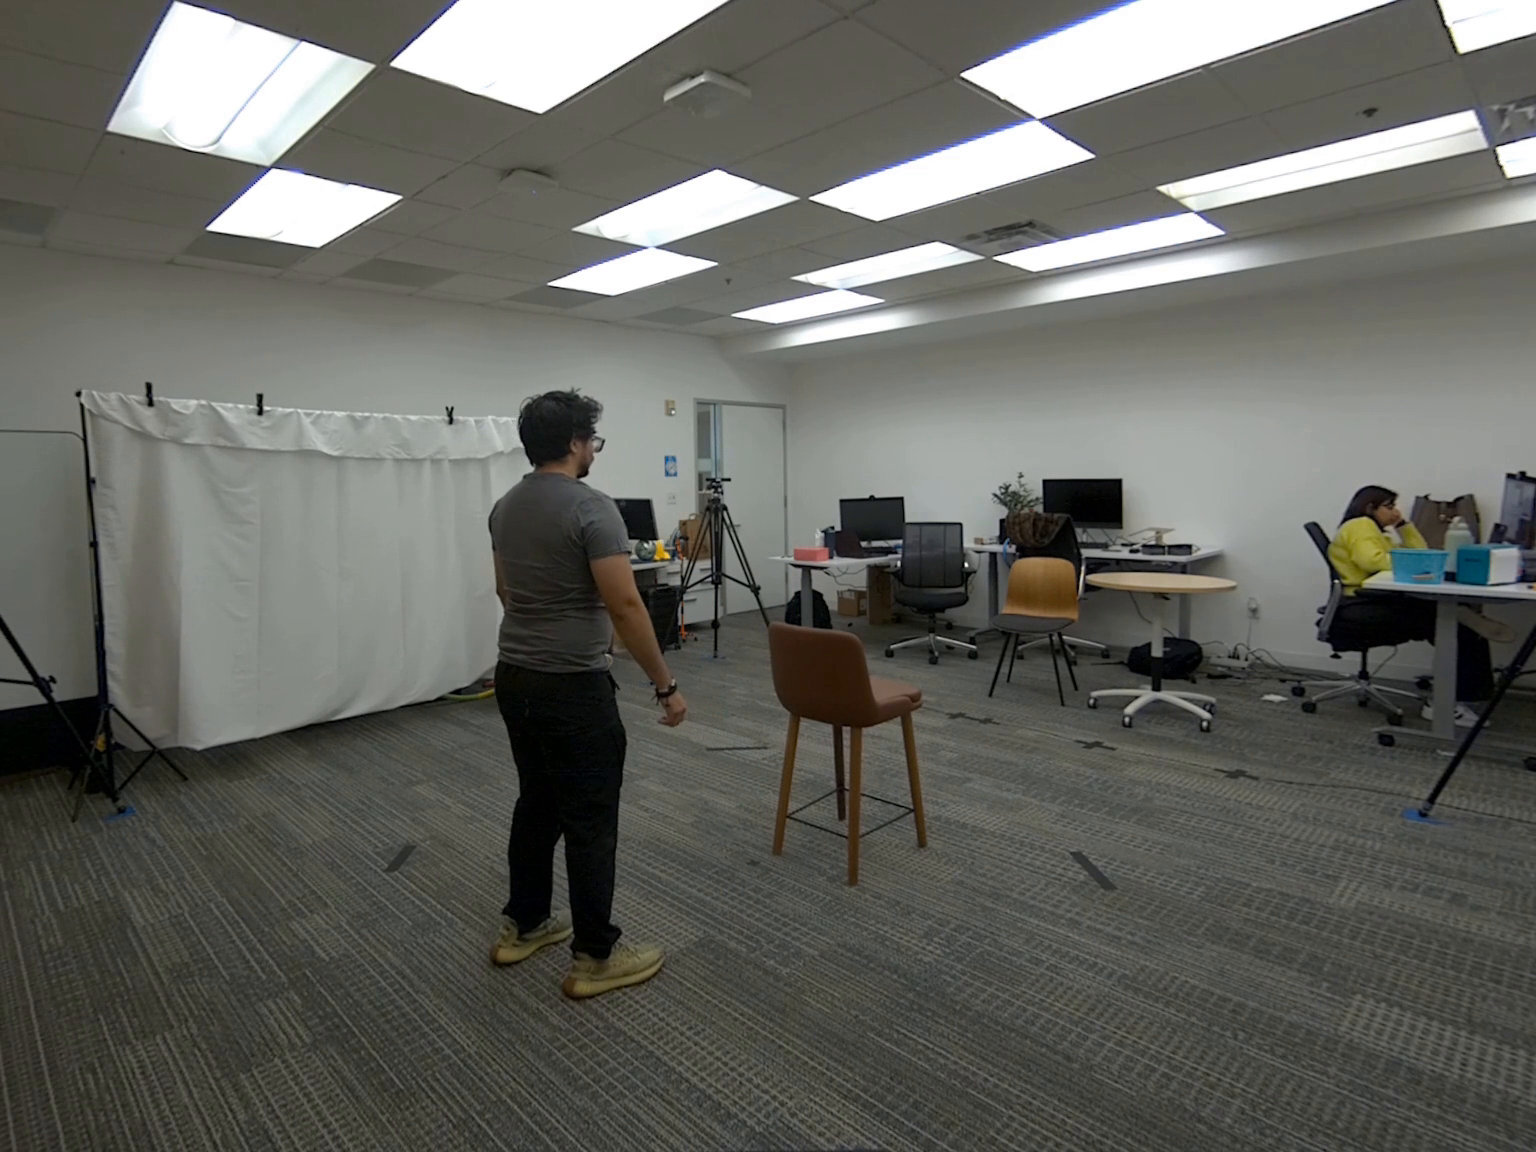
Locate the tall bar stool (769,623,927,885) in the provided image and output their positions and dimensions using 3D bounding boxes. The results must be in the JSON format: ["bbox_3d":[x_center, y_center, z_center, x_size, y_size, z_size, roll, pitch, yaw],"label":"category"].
[{"bbox_3d":[0.293,0.594,3.176,0.470,0.885,0.456,4,7,44],"label":"tall bar stool"}]
